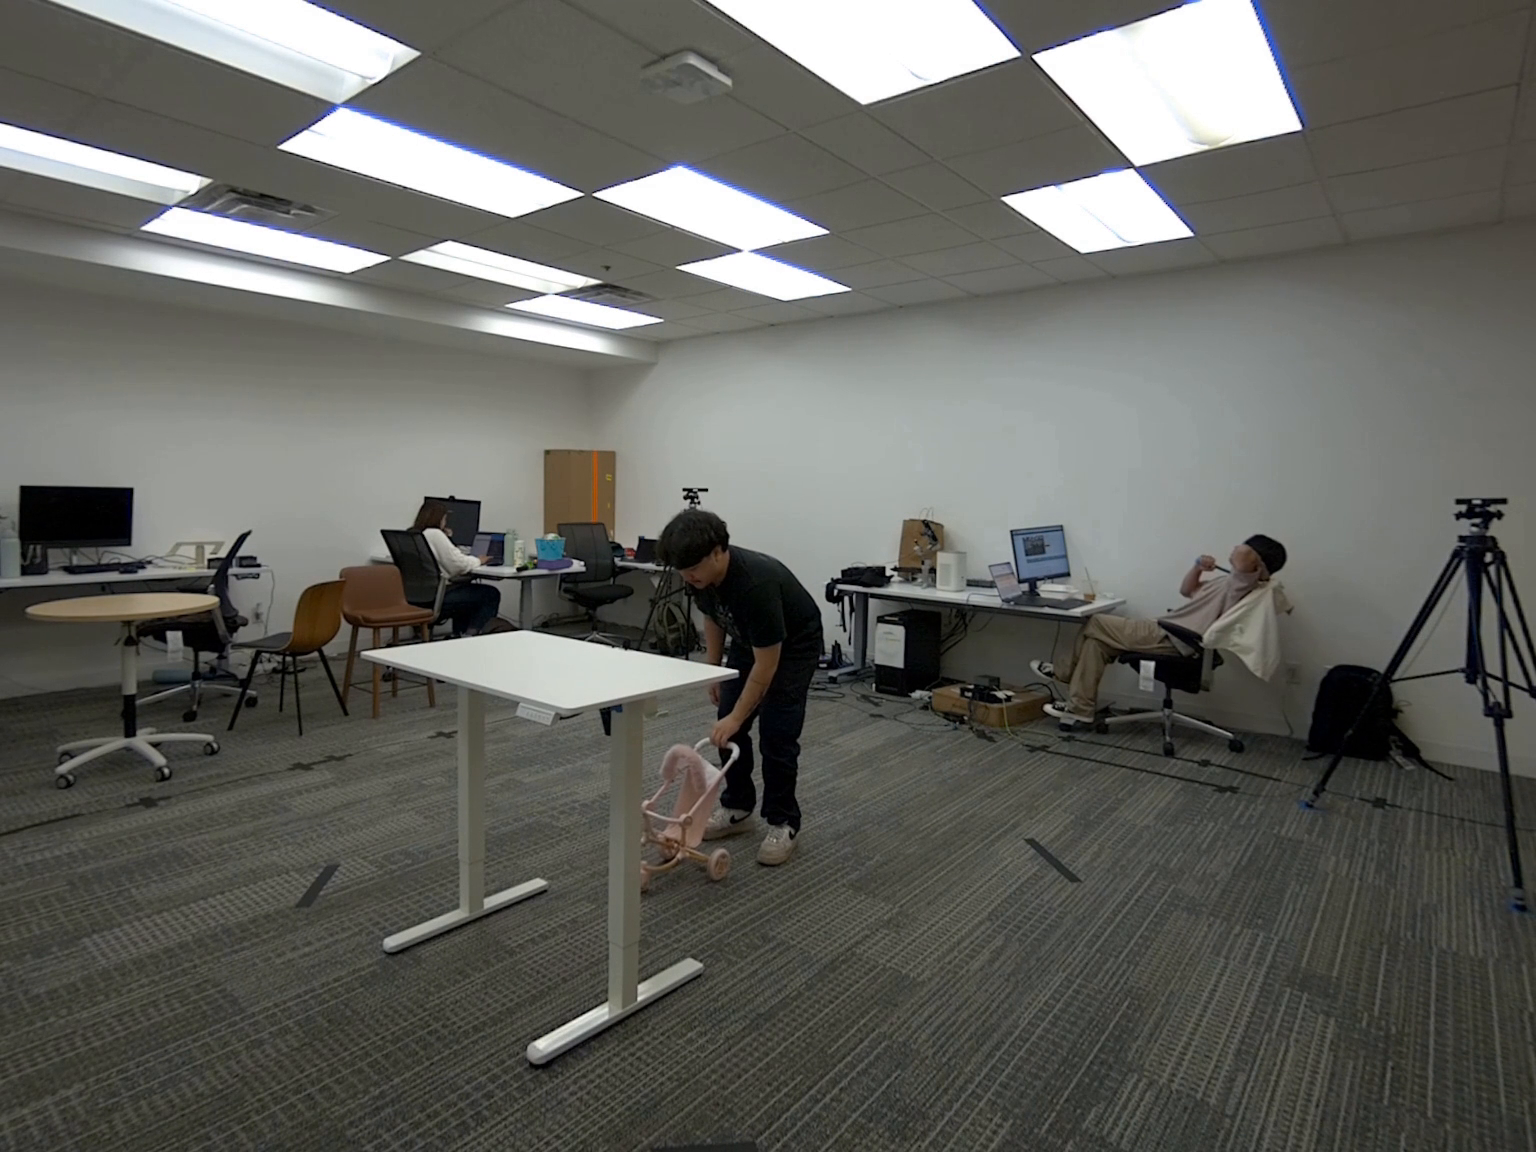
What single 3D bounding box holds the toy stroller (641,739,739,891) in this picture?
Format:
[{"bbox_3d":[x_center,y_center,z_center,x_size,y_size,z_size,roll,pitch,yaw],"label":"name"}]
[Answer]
[{"bbox_3d":[-0.323,0.848,3.051,0.291,0.538,0.328,3,-11,44],"label":"toy stroller"}]
